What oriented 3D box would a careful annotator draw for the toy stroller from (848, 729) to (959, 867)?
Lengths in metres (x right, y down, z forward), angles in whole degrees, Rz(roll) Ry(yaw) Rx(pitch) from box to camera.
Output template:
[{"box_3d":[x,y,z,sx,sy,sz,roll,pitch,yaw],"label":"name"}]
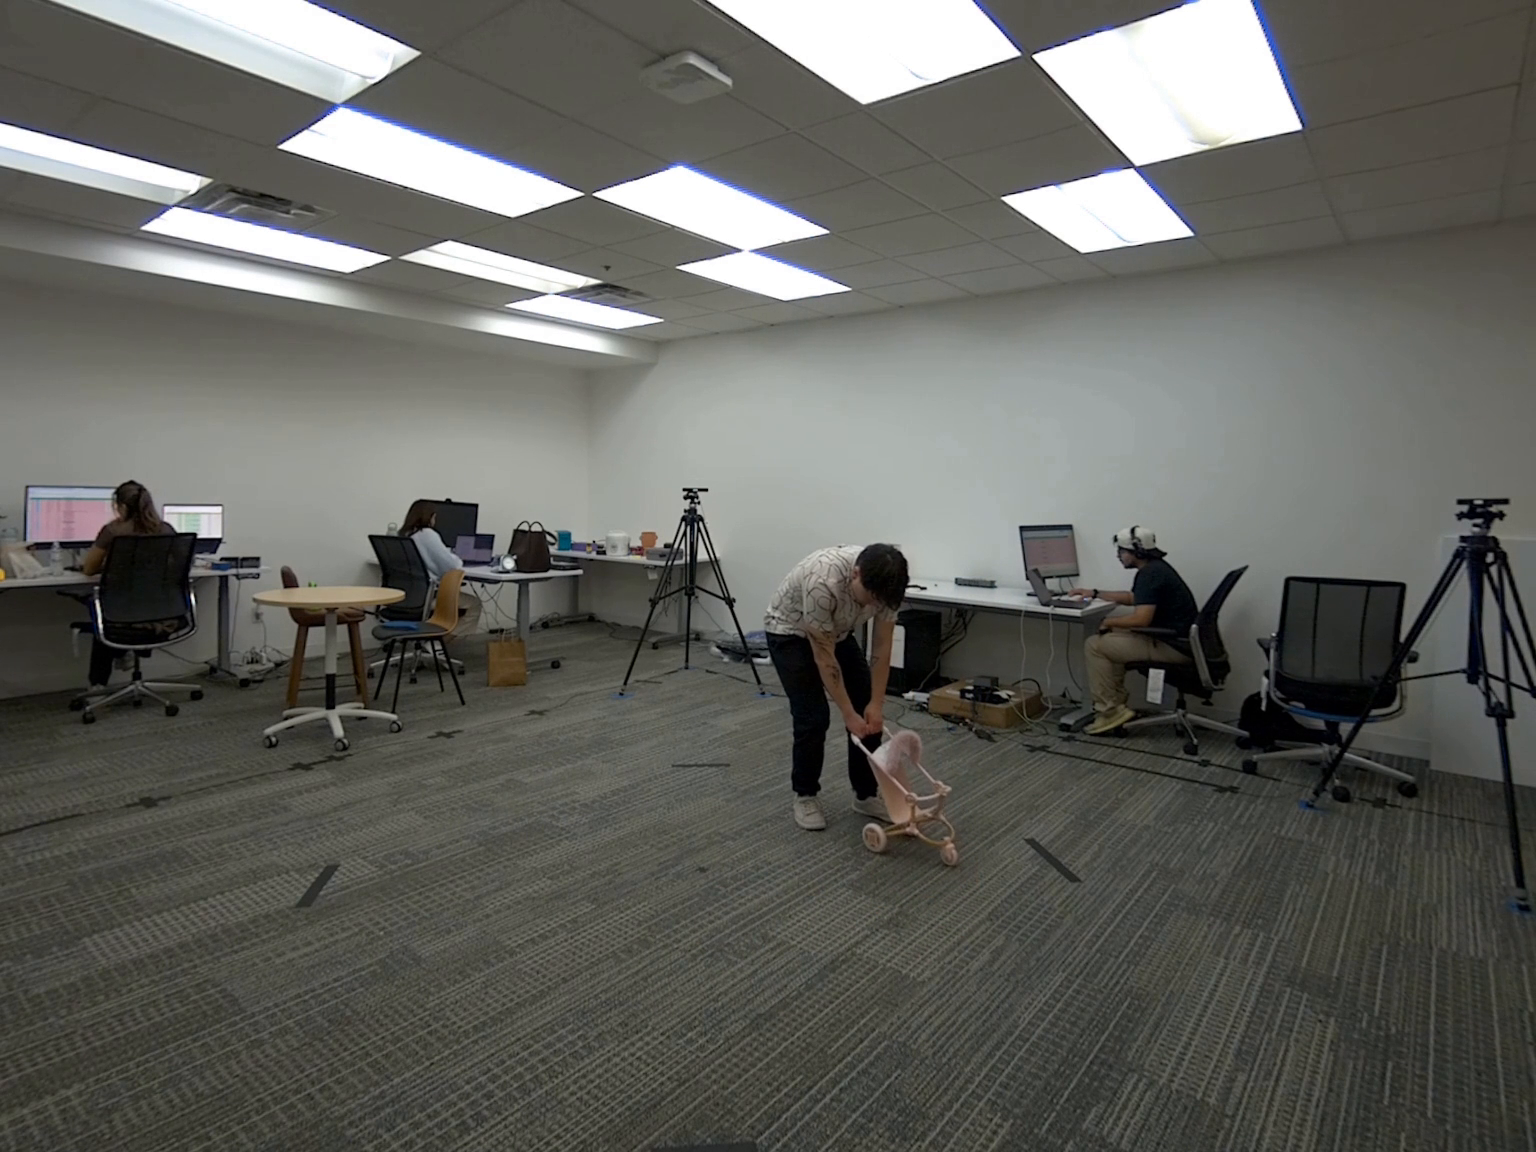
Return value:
[{"box_3d":[0.538,0.840,3.320,0.273,0.540,0.348,-3,-10,-40],"label":"toy stroller"}]
